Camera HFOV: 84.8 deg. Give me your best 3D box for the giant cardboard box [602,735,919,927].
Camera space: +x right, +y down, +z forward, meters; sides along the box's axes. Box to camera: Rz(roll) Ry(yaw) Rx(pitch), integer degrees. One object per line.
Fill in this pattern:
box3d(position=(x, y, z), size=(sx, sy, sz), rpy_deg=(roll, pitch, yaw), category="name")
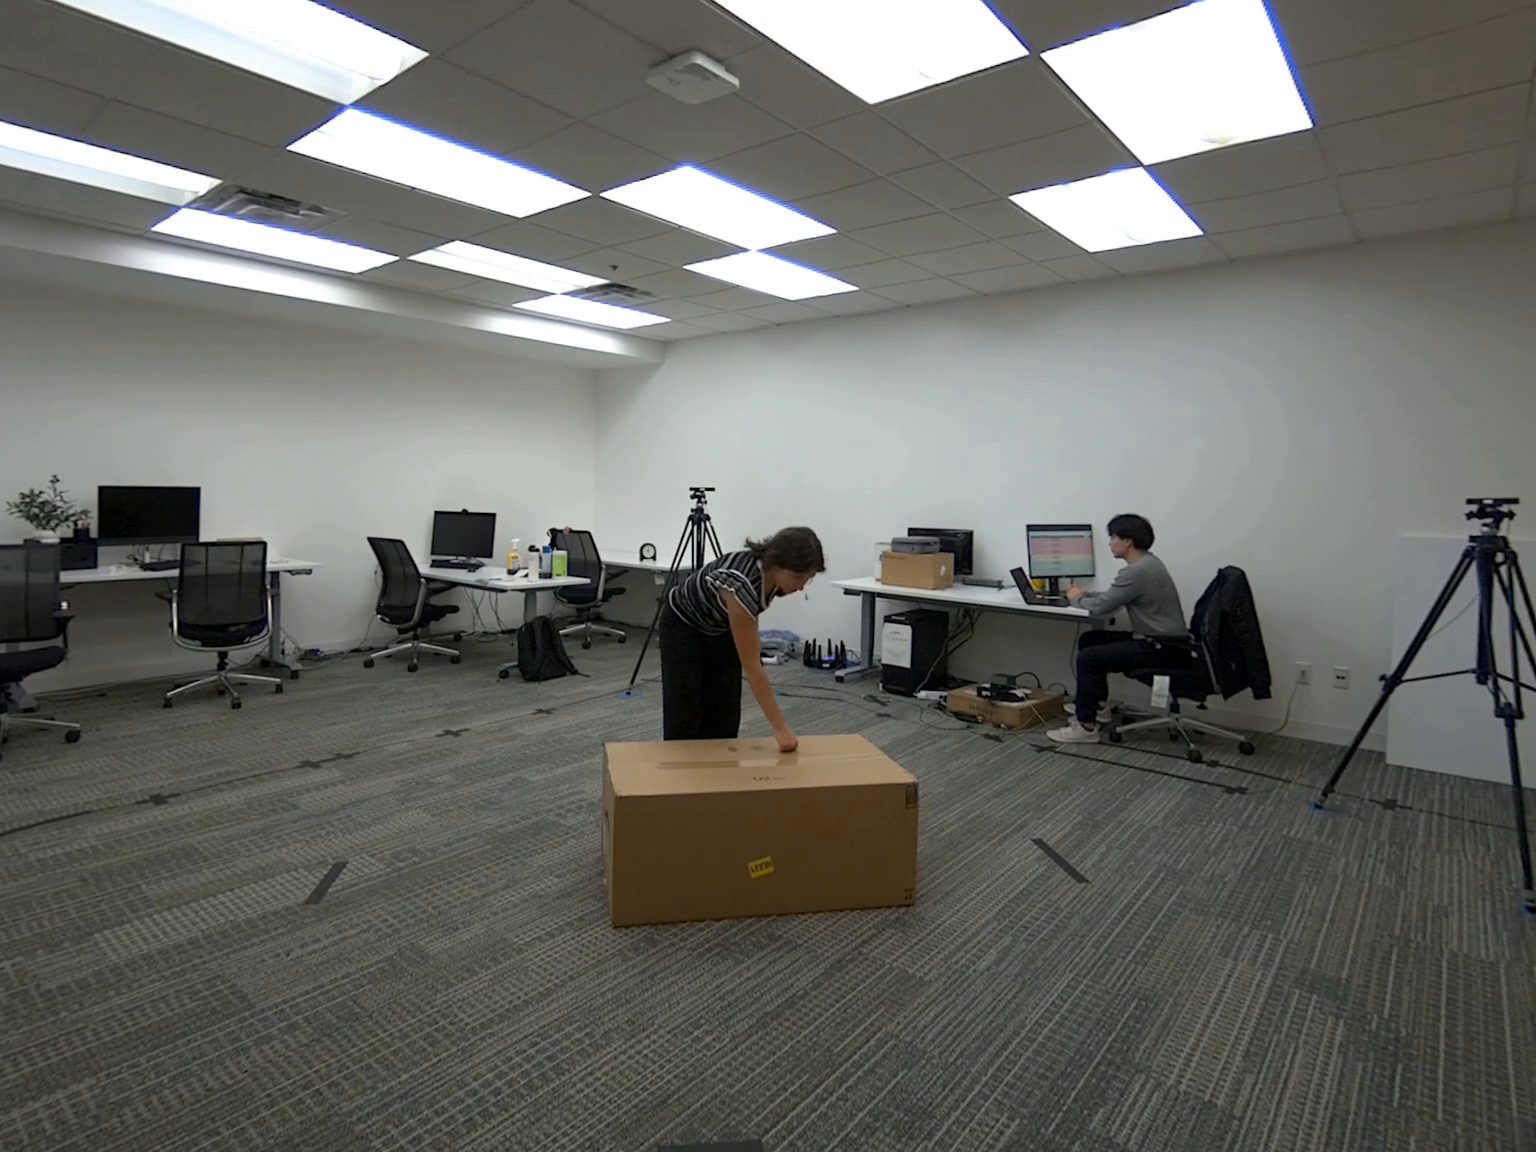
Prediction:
box3d(position=(-0.068, 0.866, 3.033), size=(1.013, 0.425, 0.587), rpy_deg=(0, 4, -12), category="giant cardboard box")
